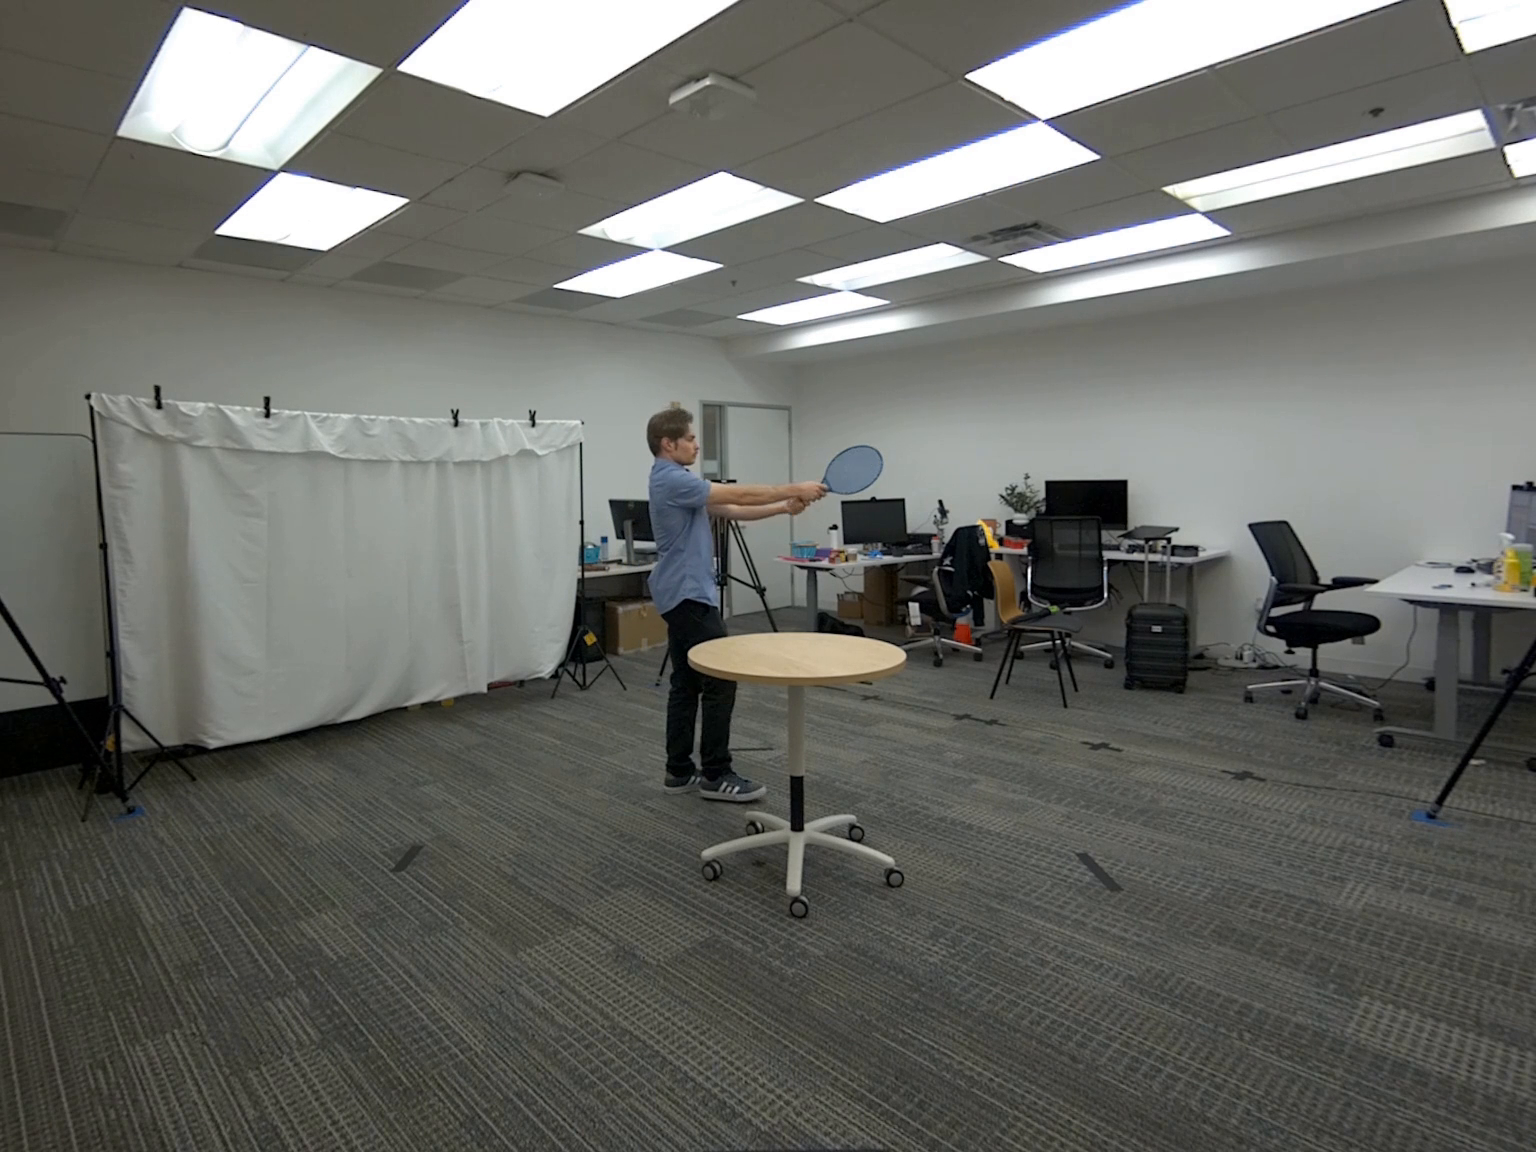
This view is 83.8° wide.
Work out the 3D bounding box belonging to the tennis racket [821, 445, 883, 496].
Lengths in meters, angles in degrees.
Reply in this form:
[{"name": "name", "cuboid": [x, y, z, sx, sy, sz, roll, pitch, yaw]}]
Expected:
[{"name": "tennis racket", "cuboid": [0.297, -0.426, 3.747, 0.435, 0.219, 0.031, -27, -23, 13]}]
